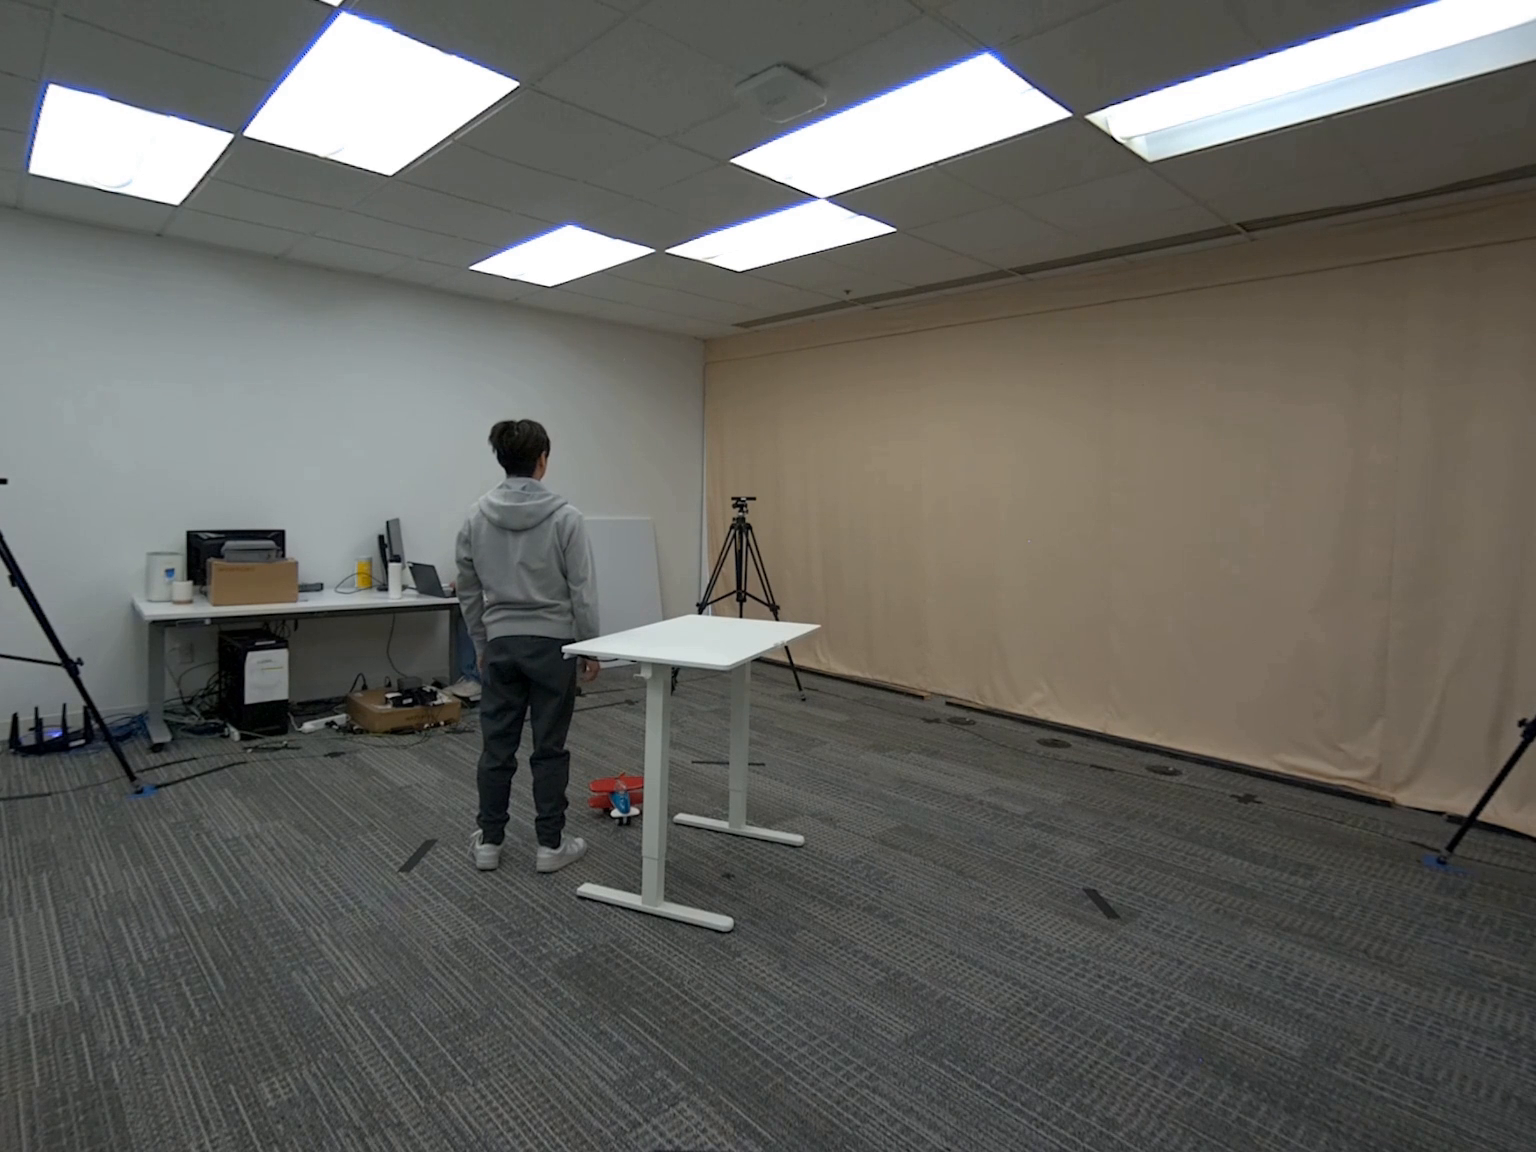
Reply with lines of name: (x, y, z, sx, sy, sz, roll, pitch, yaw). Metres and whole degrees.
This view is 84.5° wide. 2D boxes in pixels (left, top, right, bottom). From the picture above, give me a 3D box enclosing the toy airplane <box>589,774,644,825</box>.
toy airplane: (-0.632, 0.970, 3.662, 0.266, 0.156, 0.245, 4, 6, 40)
